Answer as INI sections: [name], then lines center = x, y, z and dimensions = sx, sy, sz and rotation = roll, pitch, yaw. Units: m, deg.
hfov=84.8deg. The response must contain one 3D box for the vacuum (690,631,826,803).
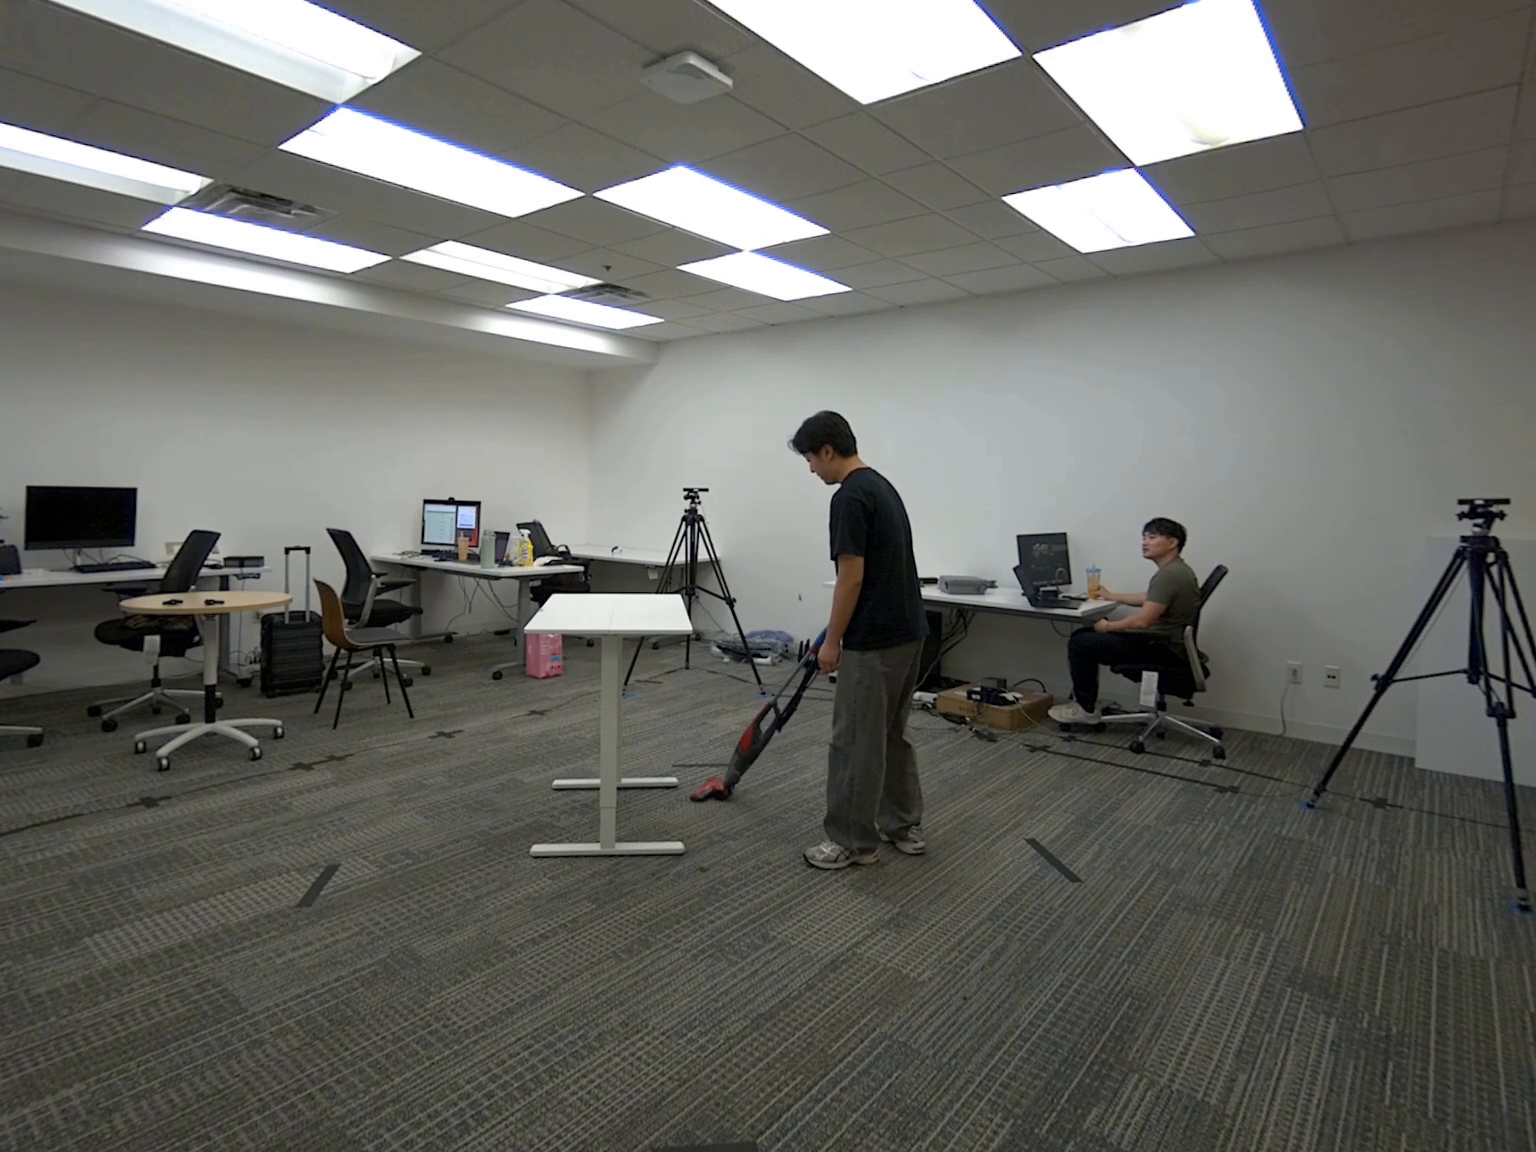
[vacuum]
center = 0.039, 0.580, 3.714
dimensions = 0.147, 1.046, 0.248
rotation = 40, 18, 14
